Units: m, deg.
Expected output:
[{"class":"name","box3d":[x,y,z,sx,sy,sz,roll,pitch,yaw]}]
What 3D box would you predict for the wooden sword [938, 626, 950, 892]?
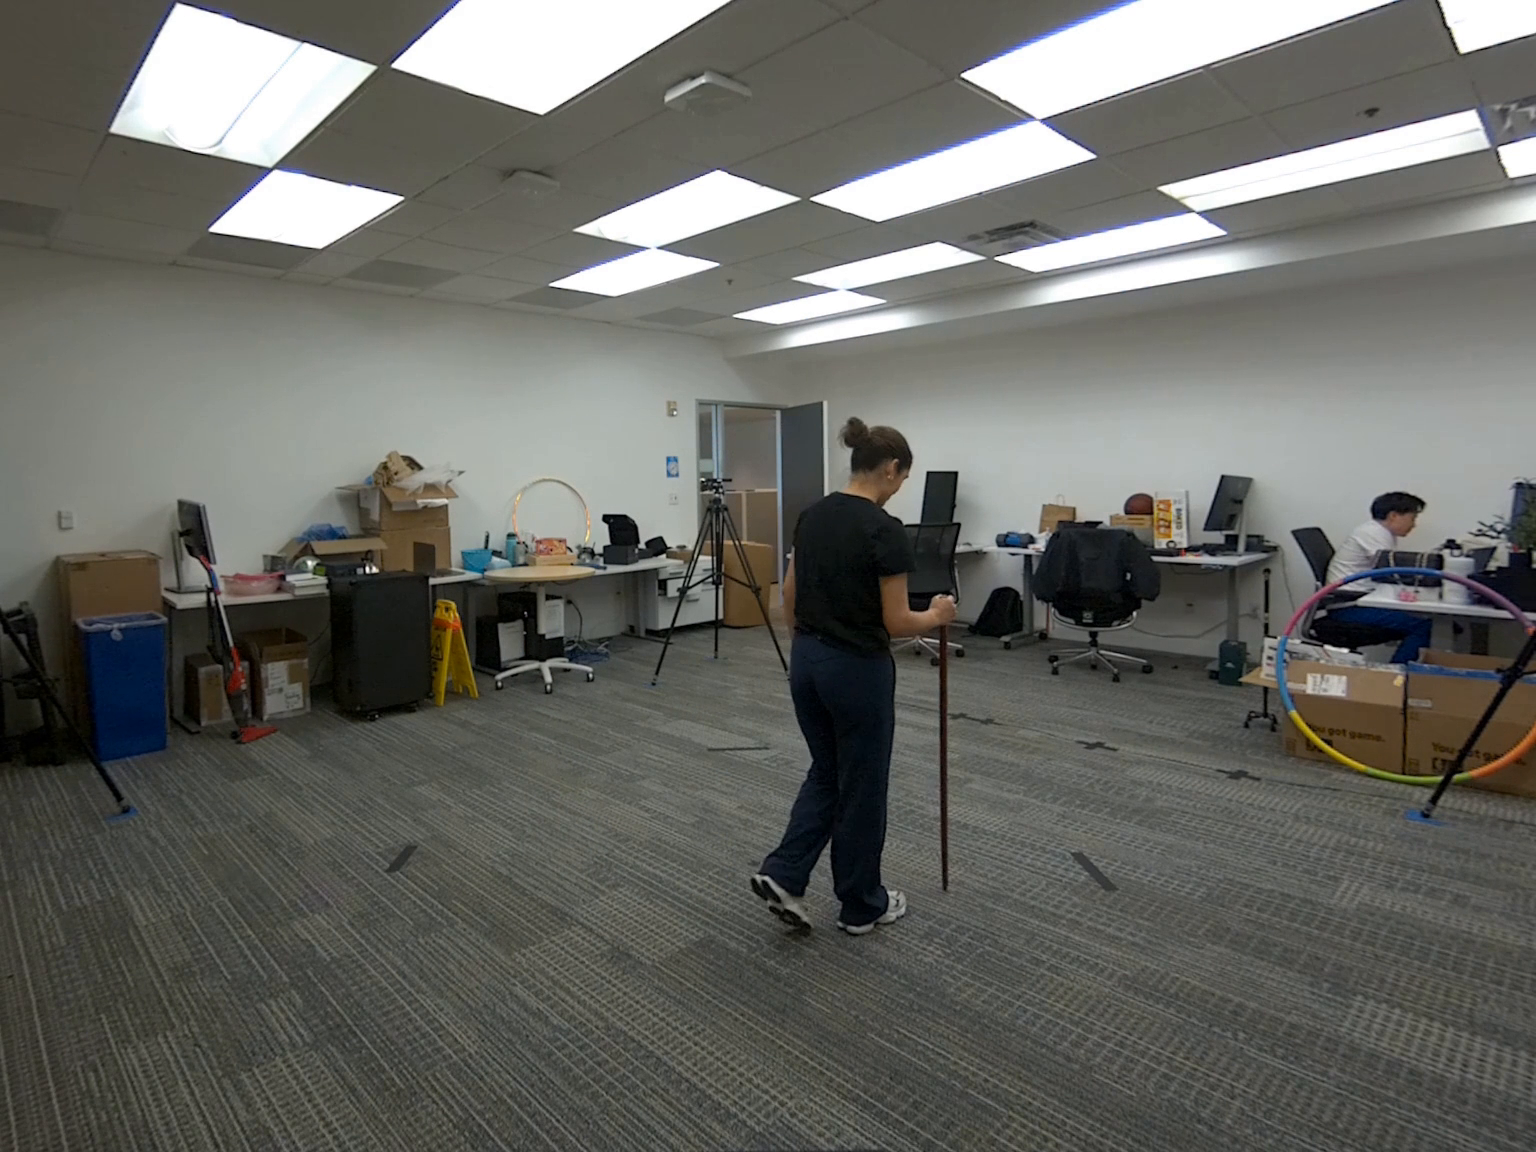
[{"class":"wooden sword","box3d":[0.570,0.567,2.791,0.050,1.013,0.025,-11,14,-32]}]
